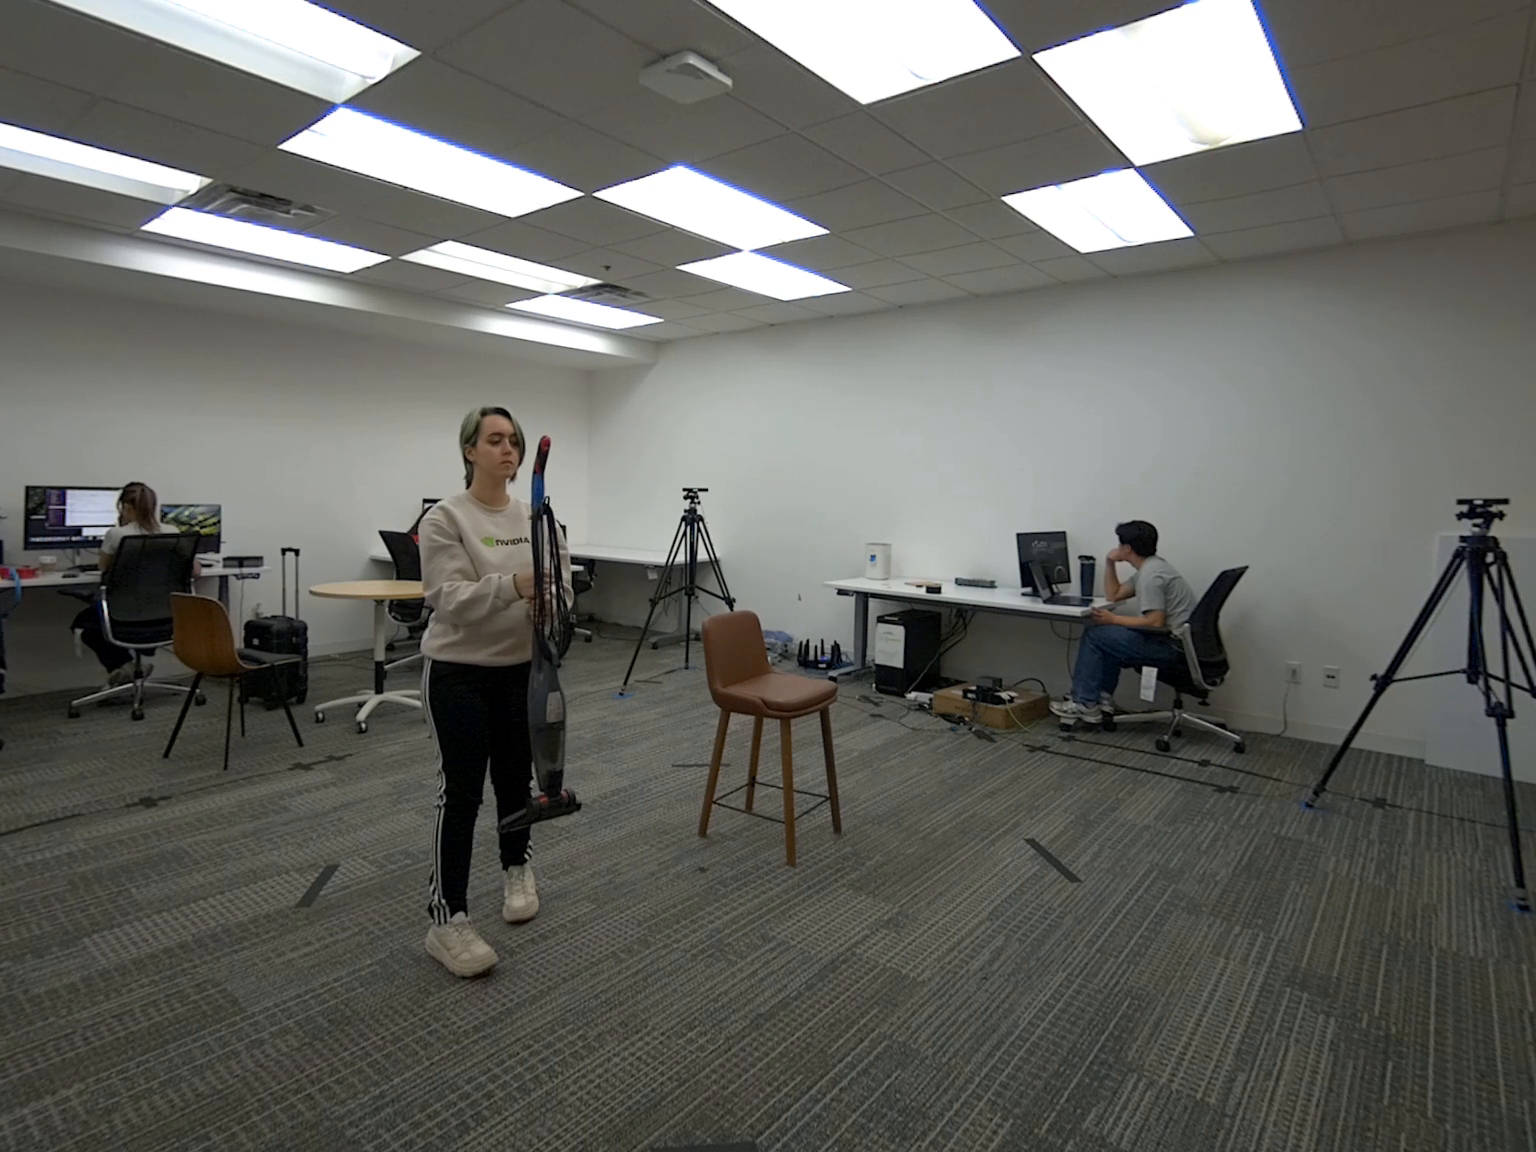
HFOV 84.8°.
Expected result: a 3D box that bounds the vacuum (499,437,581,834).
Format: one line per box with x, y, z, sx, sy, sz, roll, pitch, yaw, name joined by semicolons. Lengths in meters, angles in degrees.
-0.630;0.141;2.358;0.245;1.044;0.149;-1;6;-34;vacuum
